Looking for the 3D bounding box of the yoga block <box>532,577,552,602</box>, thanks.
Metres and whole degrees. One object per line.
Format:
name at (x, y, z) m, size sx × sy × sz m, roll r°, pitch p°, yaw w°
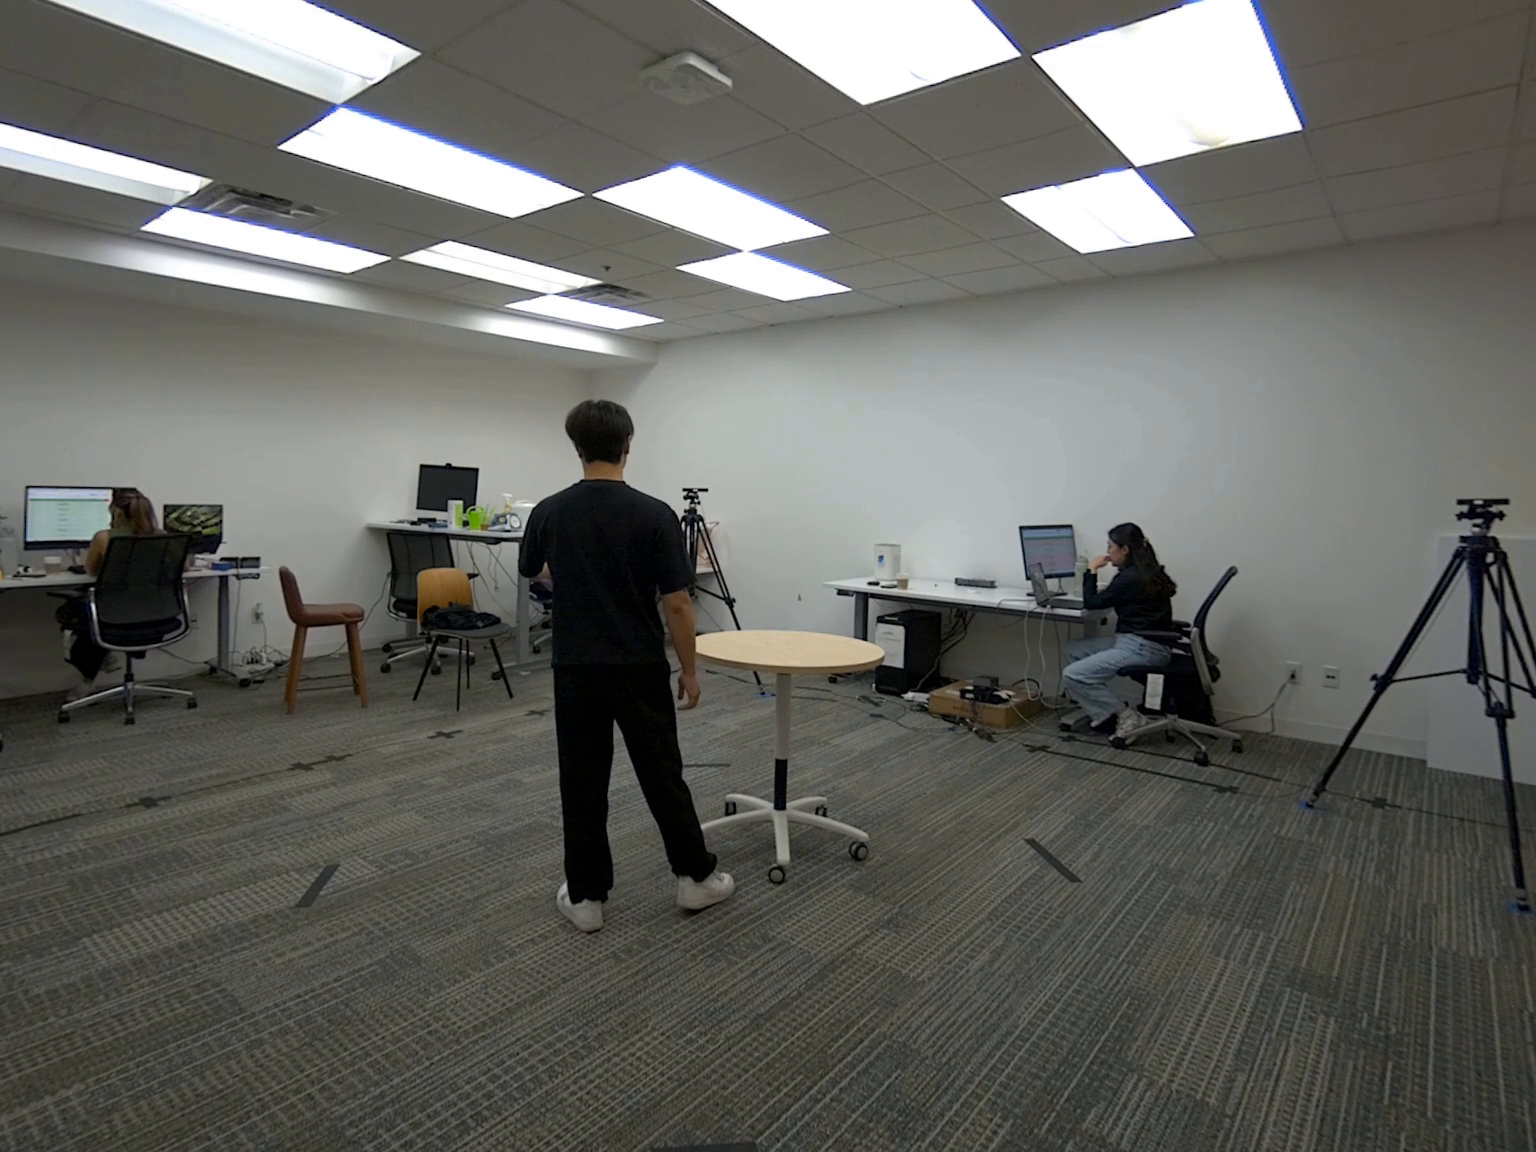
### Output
yoga block at (-0.751, -0.043, 3.266) m, size 0.154 × 0.230 × 0.073 m, roll 9°, pitch -34°, yaw 44°
